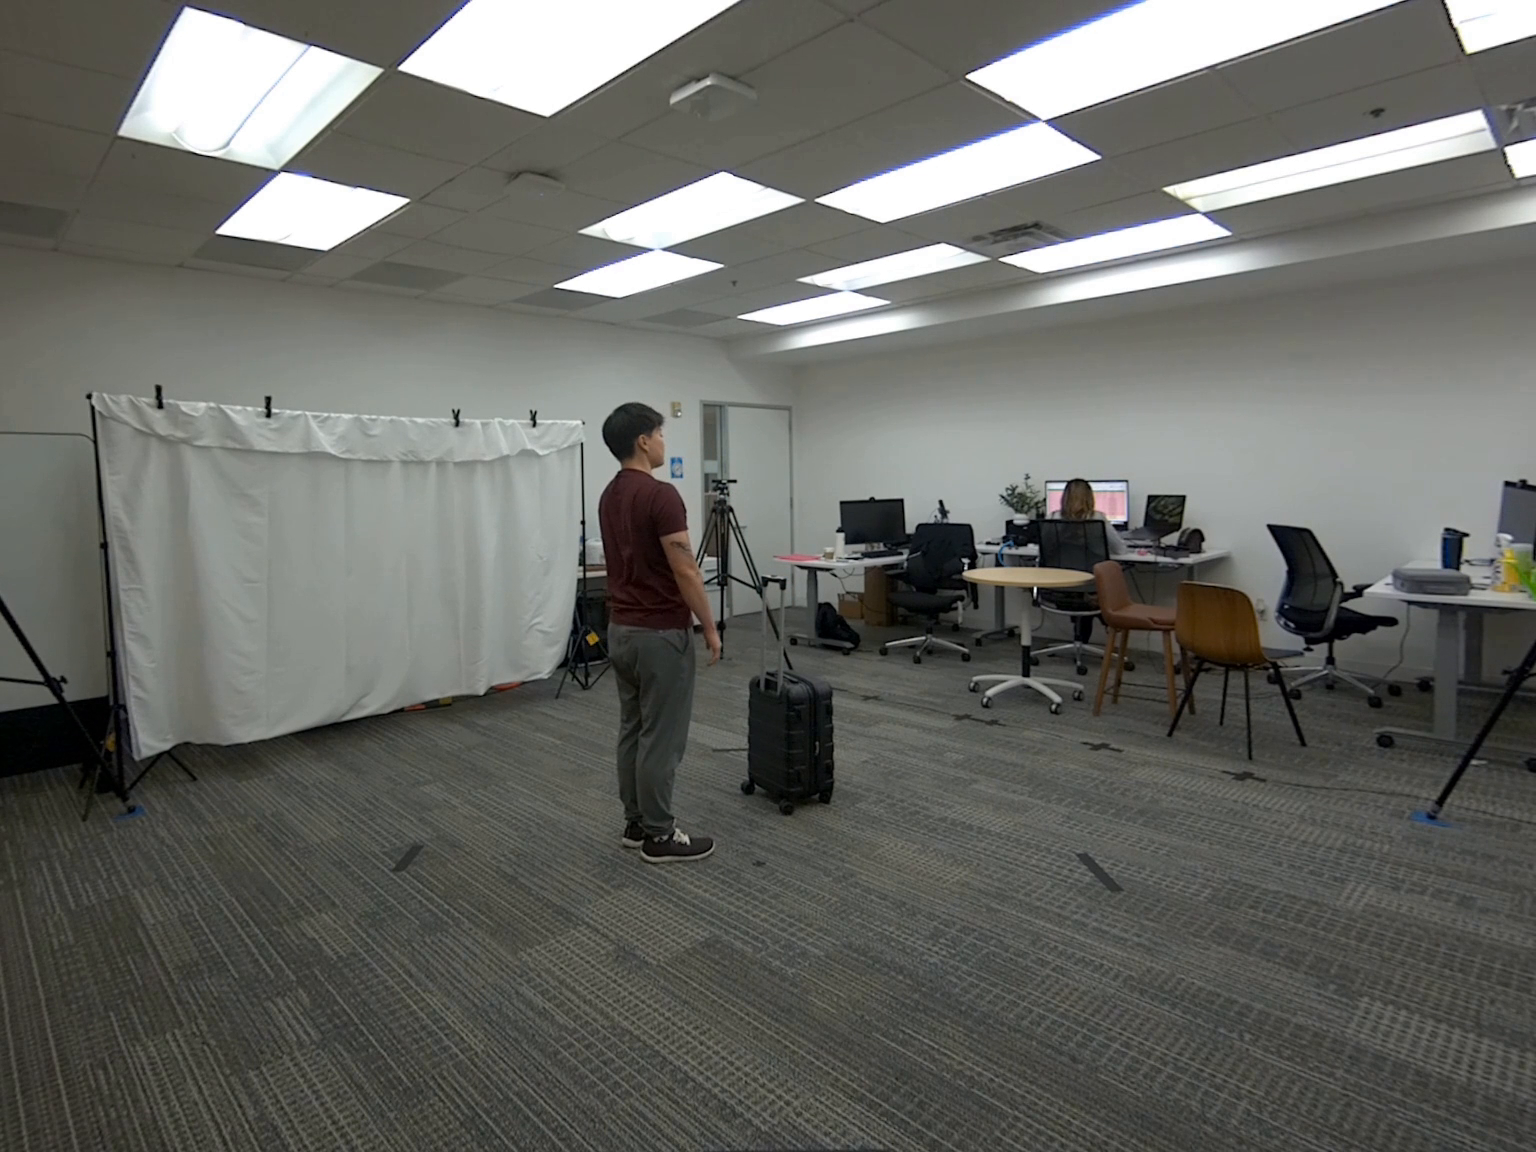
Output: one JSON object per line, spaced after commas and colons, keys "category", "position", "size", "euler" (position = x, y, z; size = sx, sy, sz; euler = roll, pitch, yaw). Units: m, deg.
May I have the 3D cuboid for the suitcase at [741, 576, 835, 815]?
{"category": "suitcase", "position": [0.102, 0.499, 3.738], "size": [0.250, 0.977, 0.394], "euler": [1, 3, -30]}
